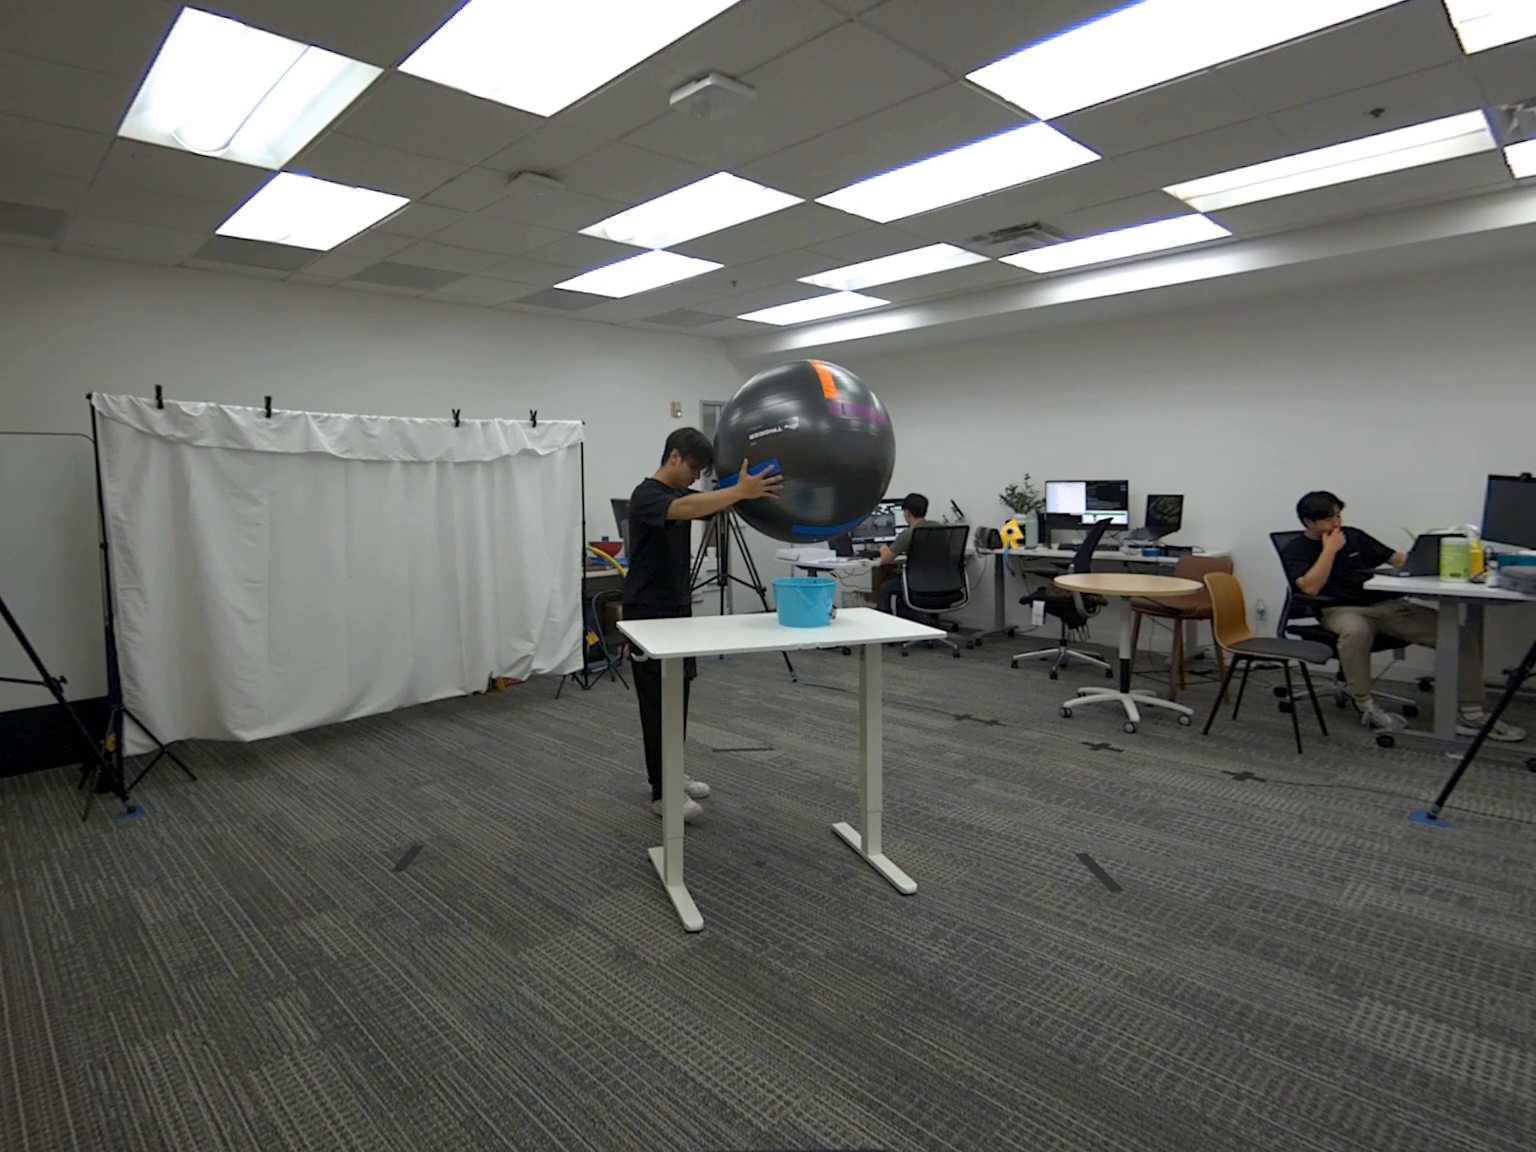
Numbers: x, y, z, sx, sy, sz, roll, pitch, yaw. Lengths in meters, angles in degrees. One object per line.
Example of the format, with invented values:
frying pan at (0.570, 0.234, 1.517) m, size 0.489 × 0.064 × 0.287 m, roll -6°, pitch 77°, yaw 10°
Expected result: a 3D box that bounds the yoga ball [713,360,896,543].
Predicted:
yoga ball at (0.151, -0.516, 3.566) m, size 0.757 × 0.755 × 0.762 m, roll -1°, pitch 5°, yaw -2°
